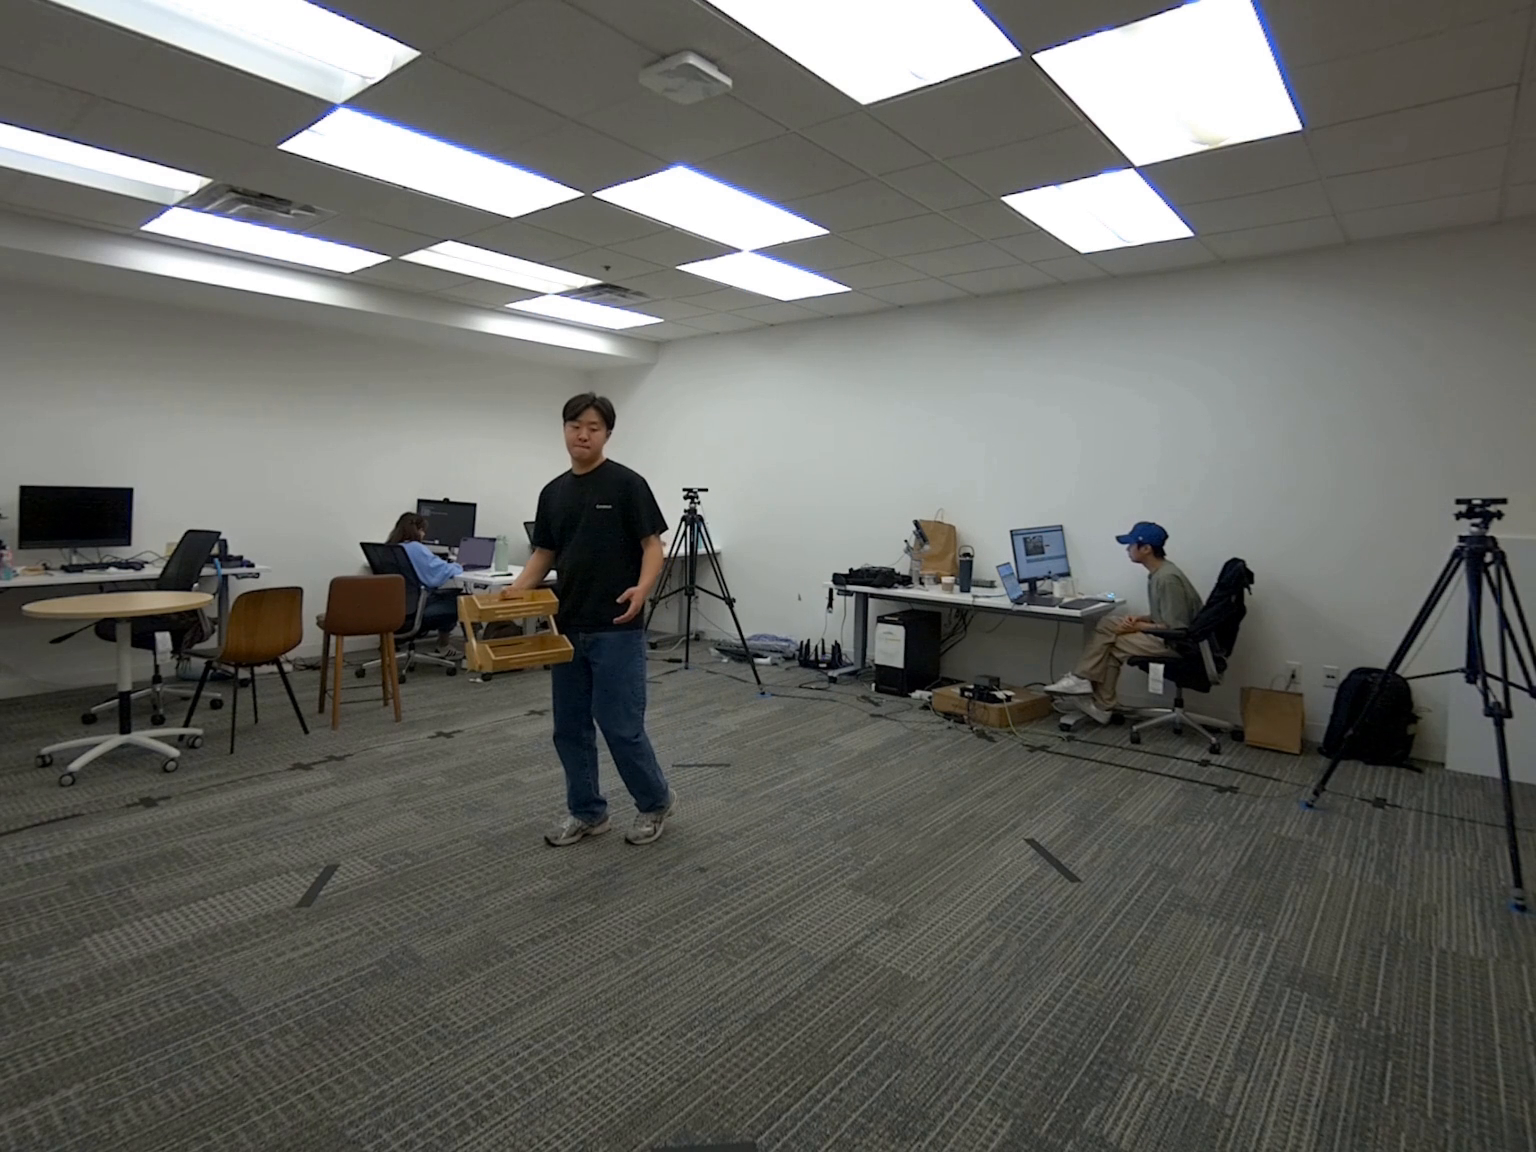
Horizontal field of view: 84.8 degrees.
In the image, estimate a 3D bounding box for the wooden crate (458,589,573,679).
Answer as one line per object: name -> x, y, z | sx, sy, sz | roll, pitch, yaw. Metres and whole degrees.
wooden crate -> -0.927, 0.179, 3.037 | 0.315, 0.274, 0.310 | -4, -1, -39
